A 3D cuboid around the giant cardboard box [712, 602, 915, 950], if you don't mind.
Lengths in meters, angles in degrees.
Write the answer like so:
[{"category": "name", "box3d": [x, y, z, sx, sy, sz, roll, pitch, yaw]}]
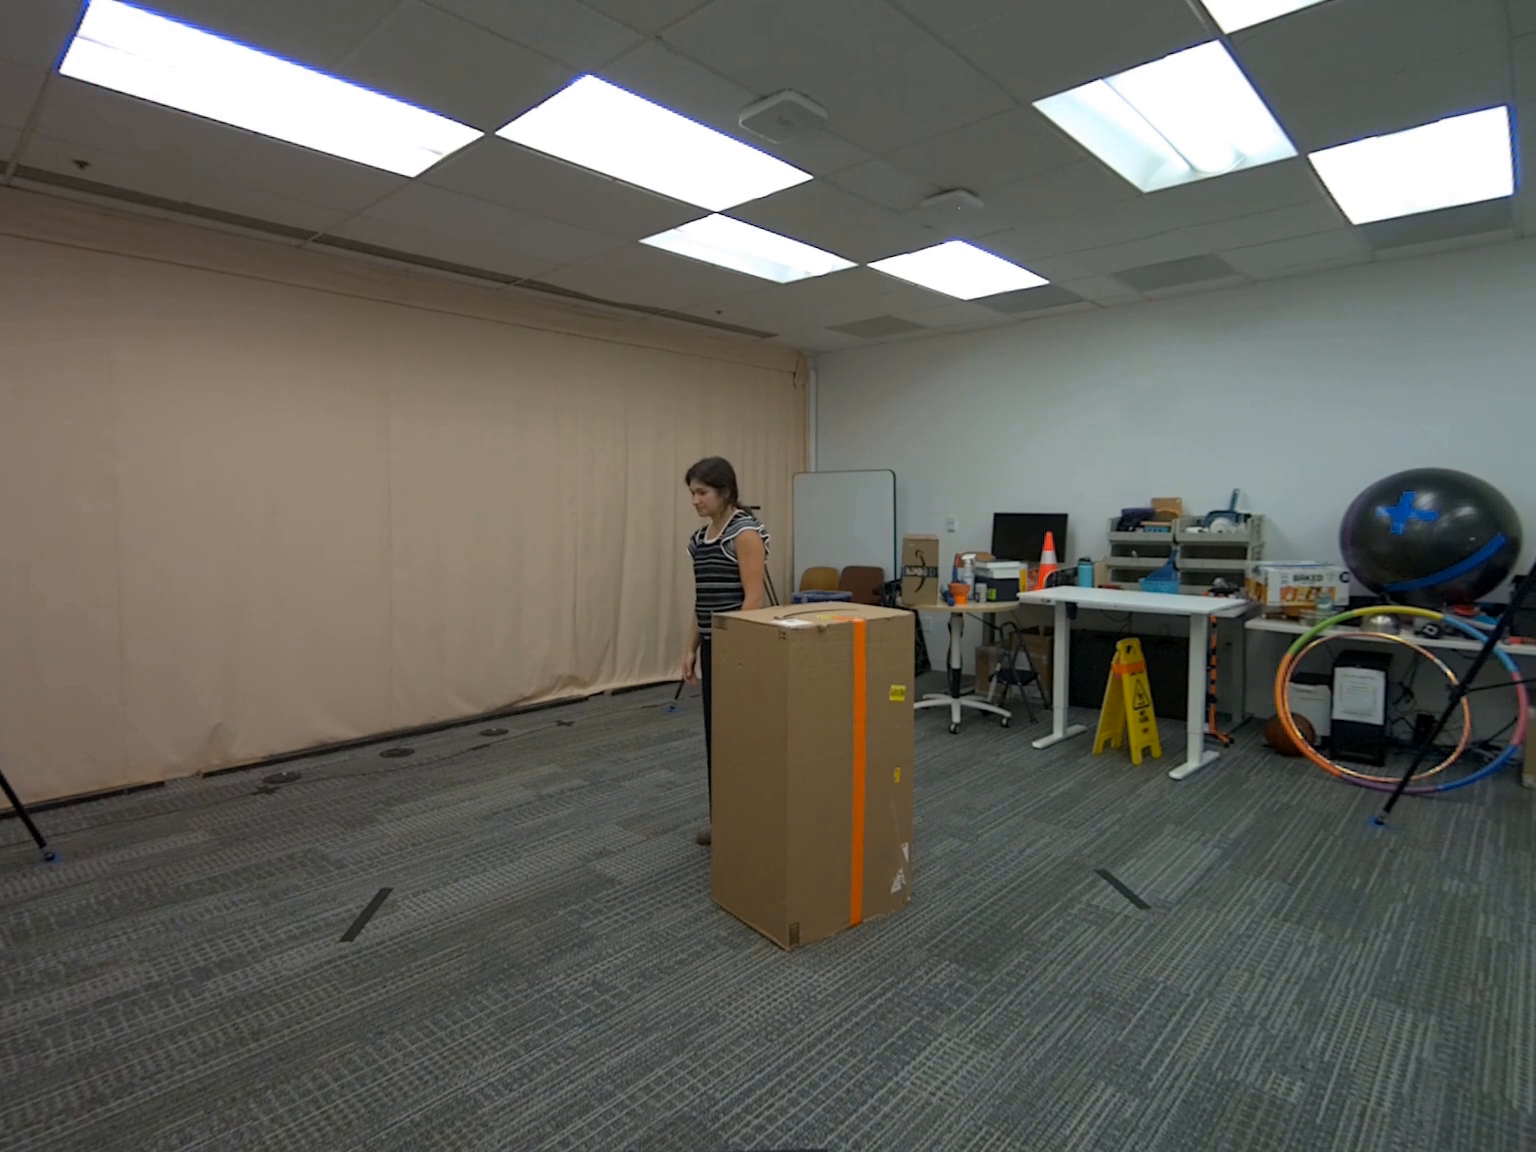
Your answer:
[{"category": "giant cardboard box", "box3d": [0.161, 0.638, 2.933, 0.560, 1.024, 0.440, -3, 4, -38]}]
